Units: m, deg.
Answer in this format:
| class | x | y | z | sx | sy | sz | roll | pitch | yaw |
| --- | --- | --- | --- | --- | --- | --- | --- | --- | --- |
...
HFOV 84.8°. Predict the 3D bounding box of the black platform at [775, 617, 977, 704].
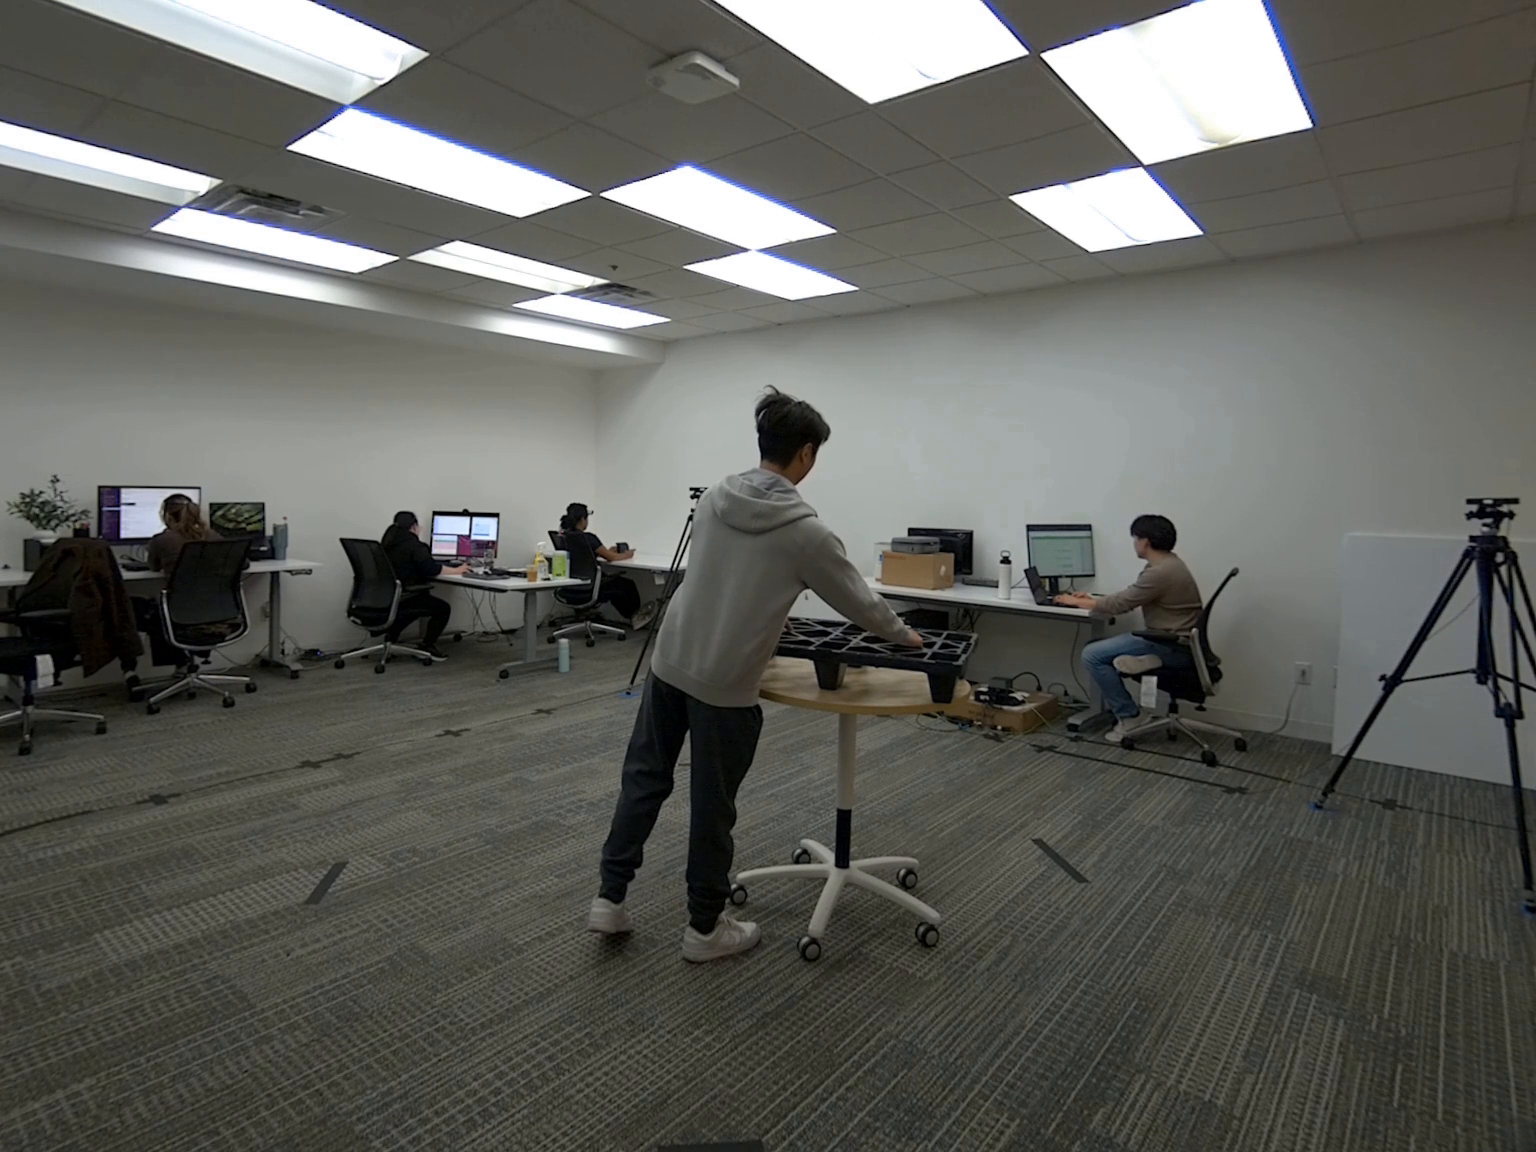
| class | x | y | z | sx | sy | sz | roll | pitch | yaw |
| --- | --- | --- | --- | --- | --- | --- | --- | --- | --- |
| black platform | 0.256 | 0.256 | 2.803 | 0.824 | 0.142 | 0.595 | 3 | 7 | 21 |
